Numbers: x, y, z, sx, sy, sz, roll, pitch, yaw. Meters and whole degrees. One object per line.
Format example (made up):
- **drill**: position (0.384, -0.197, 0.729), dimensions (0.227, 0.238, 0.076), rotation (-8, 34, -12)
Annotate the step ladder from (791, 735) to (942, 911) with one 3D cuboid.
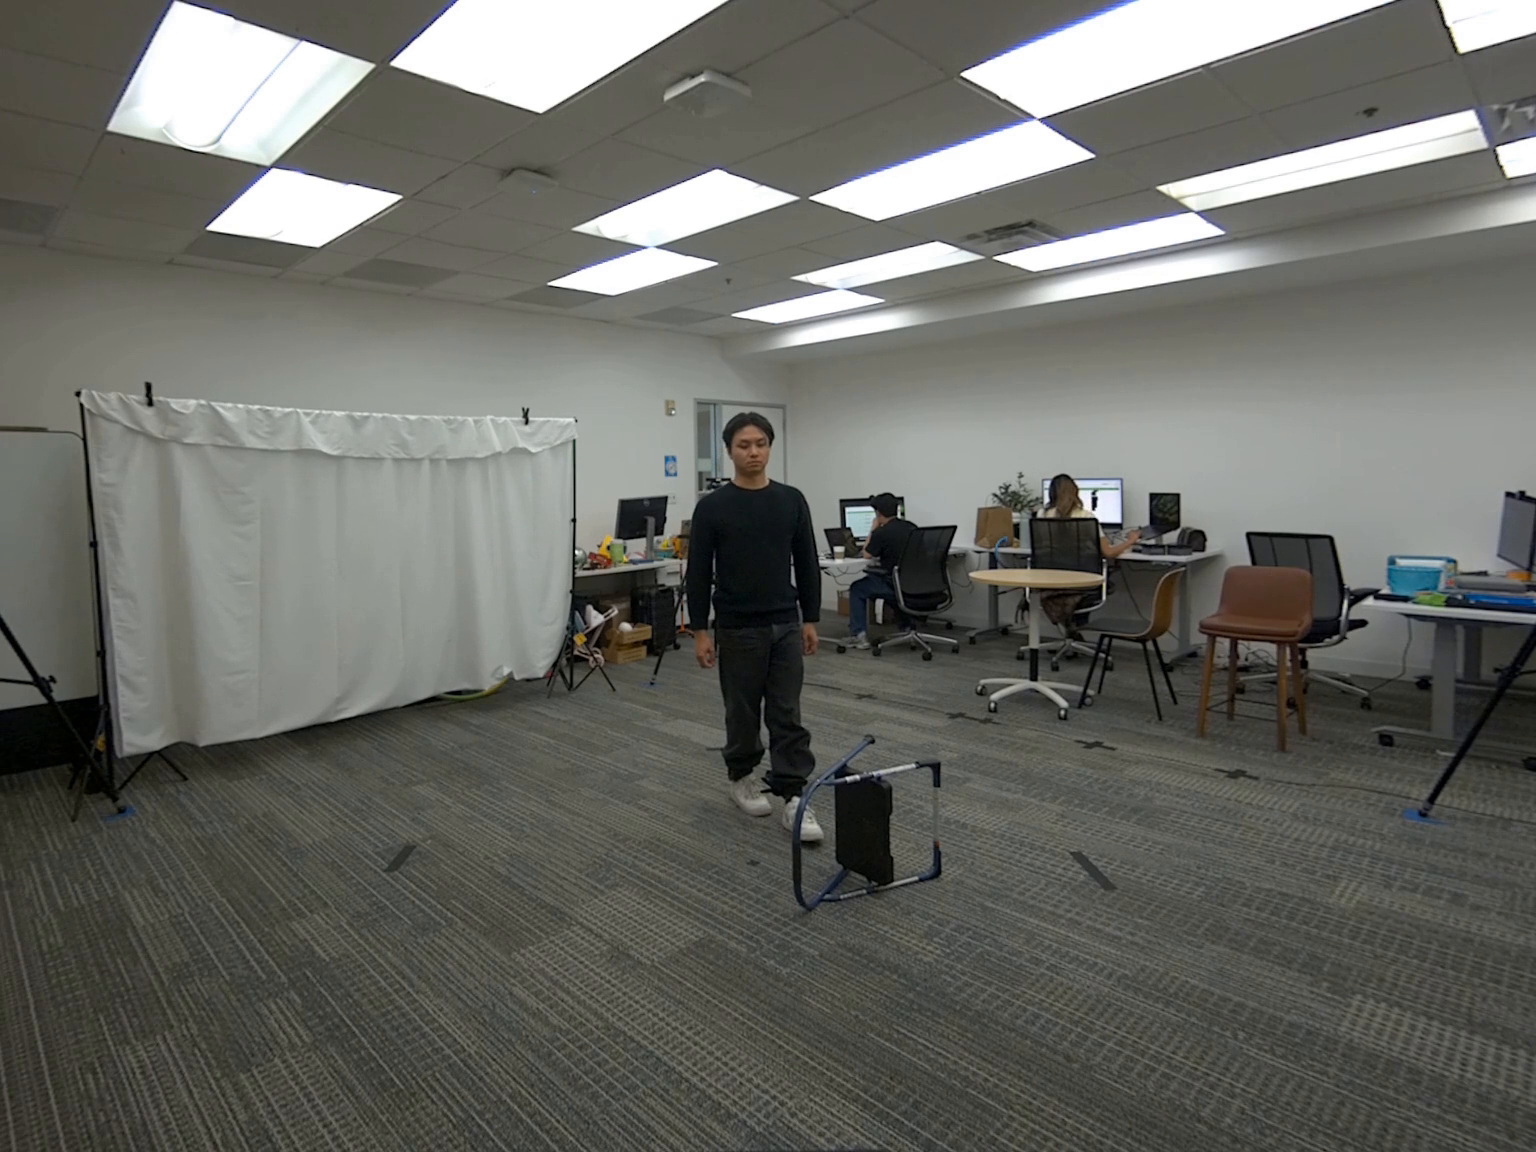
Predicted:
- **step ladder**: position (0.269, 0.853, 2.908), dimensions (0.591, 0.428, 0.360), rotation (-7, 7, -39)
